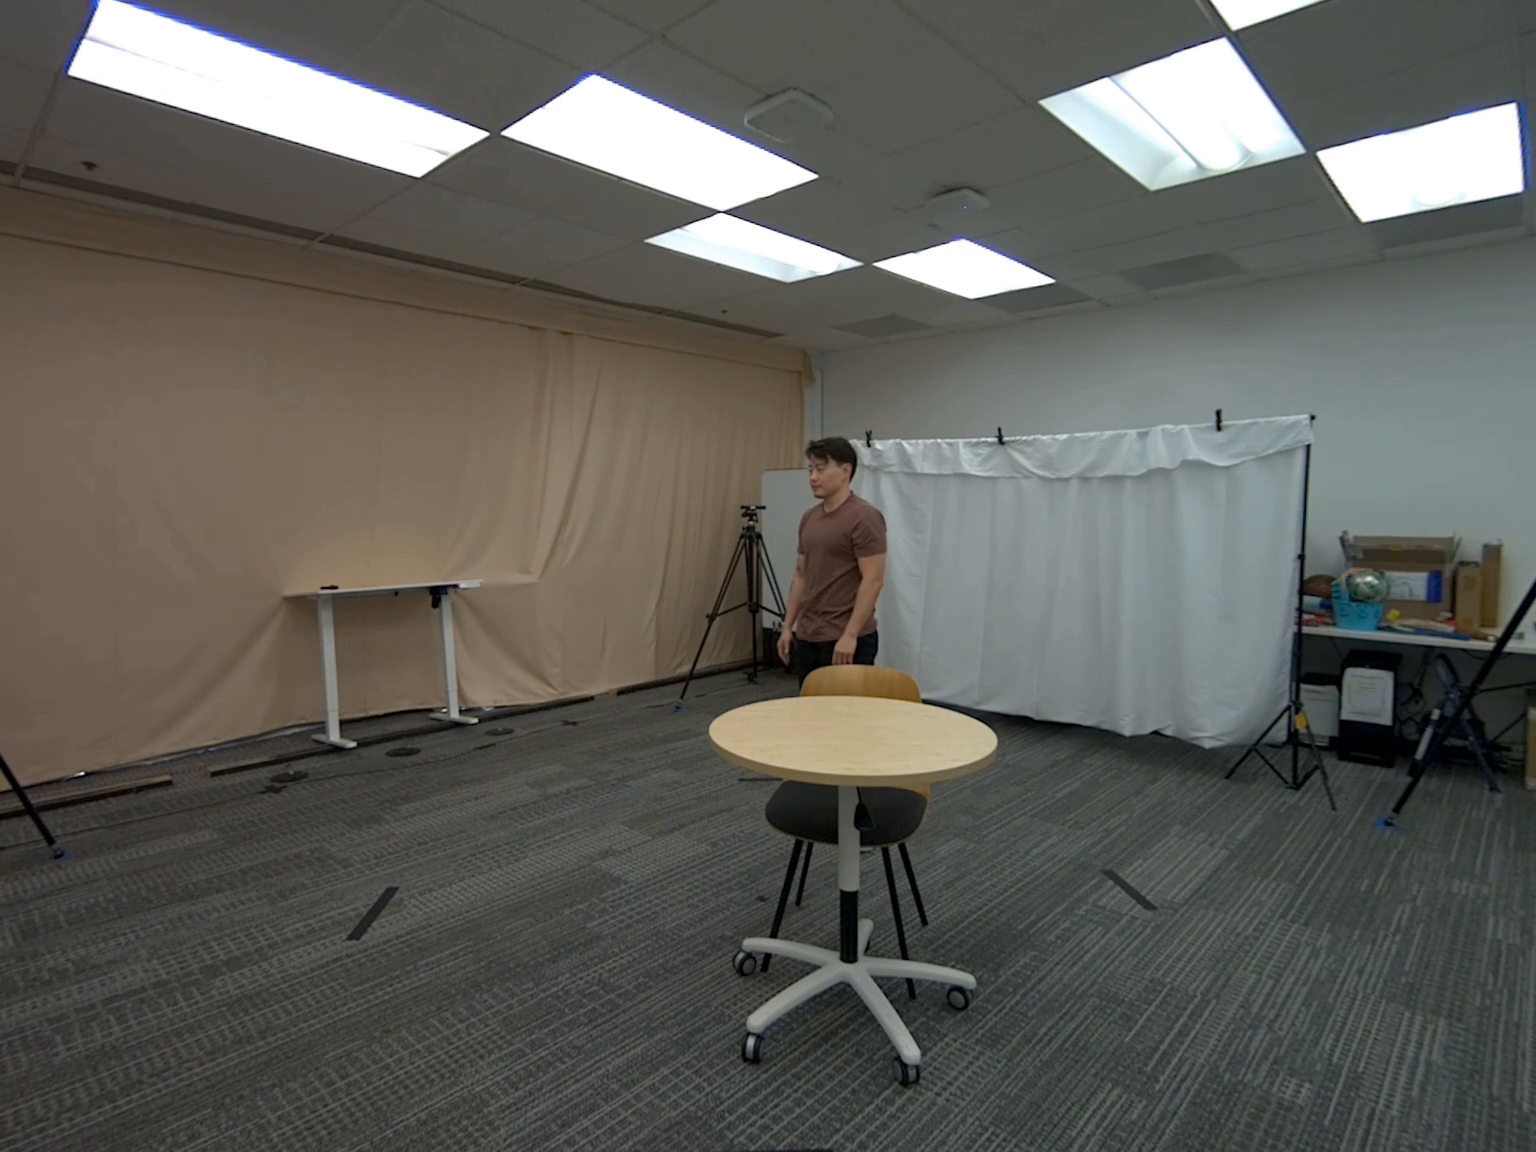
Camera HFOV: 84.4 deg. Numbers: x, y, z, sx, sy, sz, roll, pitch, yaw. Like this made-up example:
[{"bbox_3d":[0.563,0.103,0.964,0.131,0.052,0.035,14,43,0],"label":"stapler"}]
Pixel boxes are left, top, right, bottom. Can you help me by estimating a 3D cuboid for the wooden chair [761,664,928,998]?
[{"bbox_3d":[0.256,0.739,2.624,0.488,0.877,0.512,2,0,18],"label":"wooden chair"}]
